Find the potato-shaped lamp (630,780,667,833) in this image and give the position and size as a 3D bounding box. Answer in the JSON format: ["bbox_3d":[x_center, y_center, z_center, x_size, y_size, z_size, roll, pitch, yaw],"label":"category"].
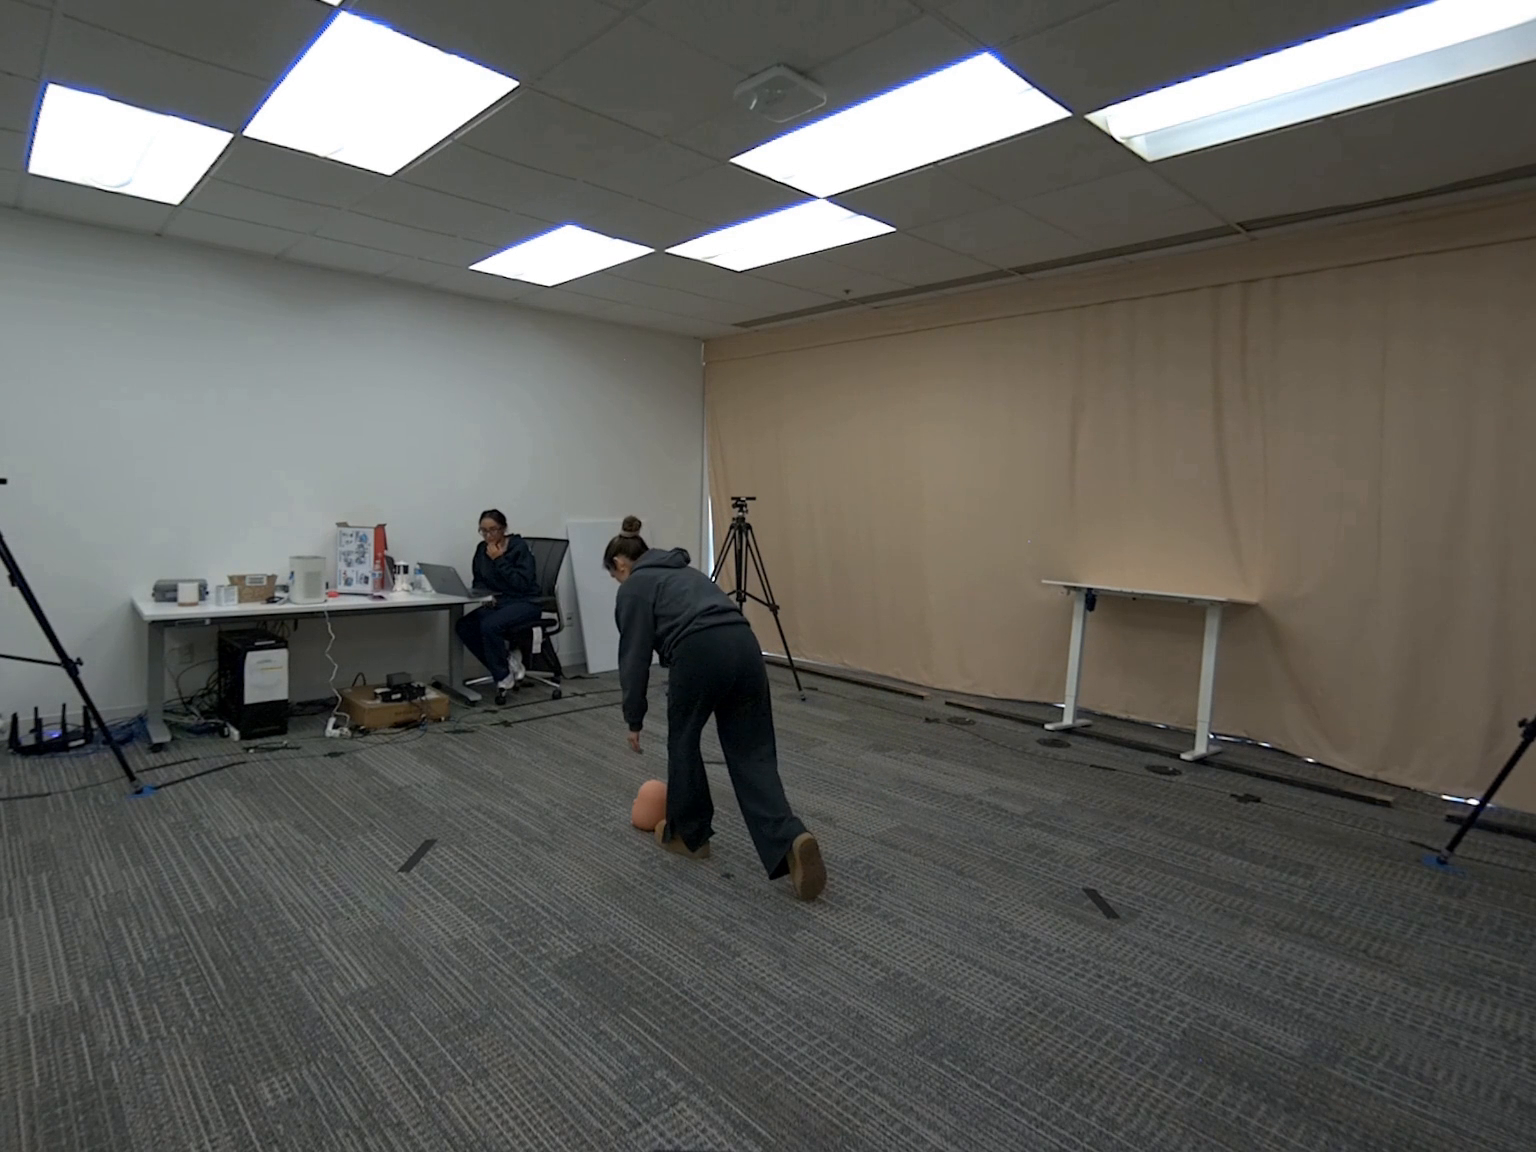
[{"bbox_3d":[-0.498,0.957,3.556,0.176,0.197,0.161,8,8,36],"label":"potato-shaped lamp"}]
